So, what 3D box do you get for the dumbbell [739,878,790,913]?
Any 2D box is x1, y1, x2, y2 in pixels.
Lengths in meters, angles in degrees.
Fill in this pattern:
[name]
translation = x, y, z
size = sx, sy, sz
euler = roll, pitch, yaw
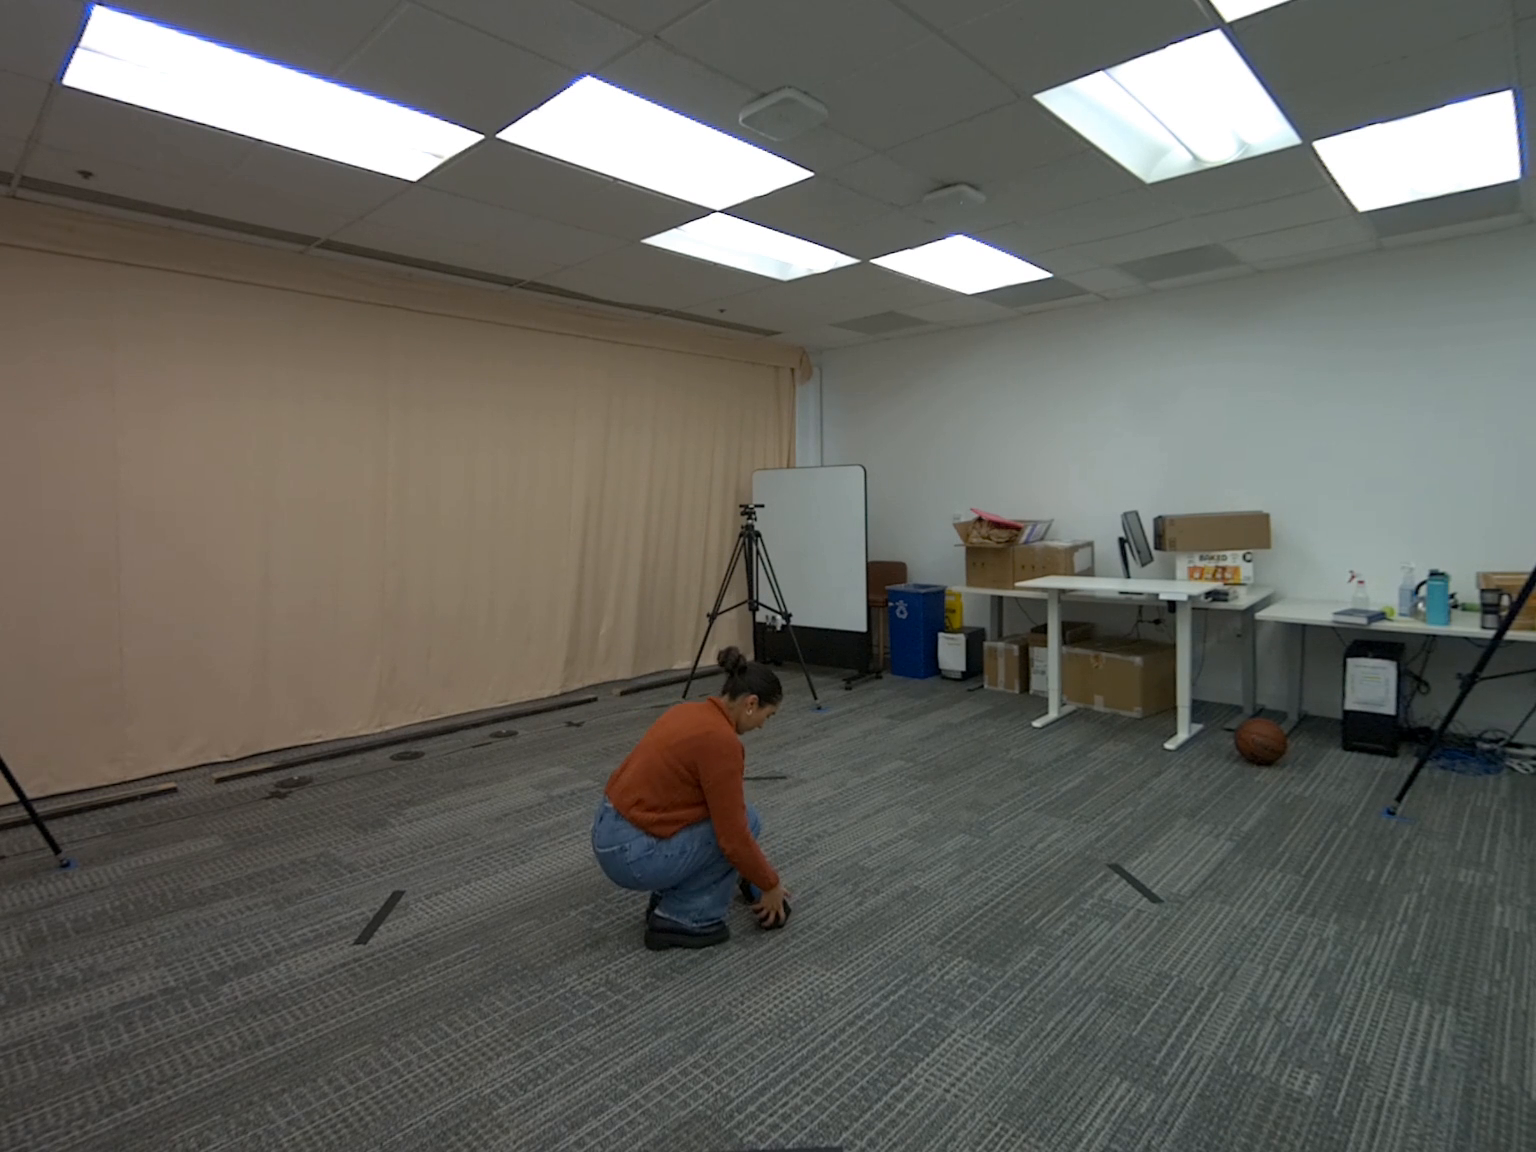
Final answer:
[dumbbell]
translation = -0.015, 1.098, 2.881
size = 0.108, 0.121, 0.299
euler = -32, 11, -12
